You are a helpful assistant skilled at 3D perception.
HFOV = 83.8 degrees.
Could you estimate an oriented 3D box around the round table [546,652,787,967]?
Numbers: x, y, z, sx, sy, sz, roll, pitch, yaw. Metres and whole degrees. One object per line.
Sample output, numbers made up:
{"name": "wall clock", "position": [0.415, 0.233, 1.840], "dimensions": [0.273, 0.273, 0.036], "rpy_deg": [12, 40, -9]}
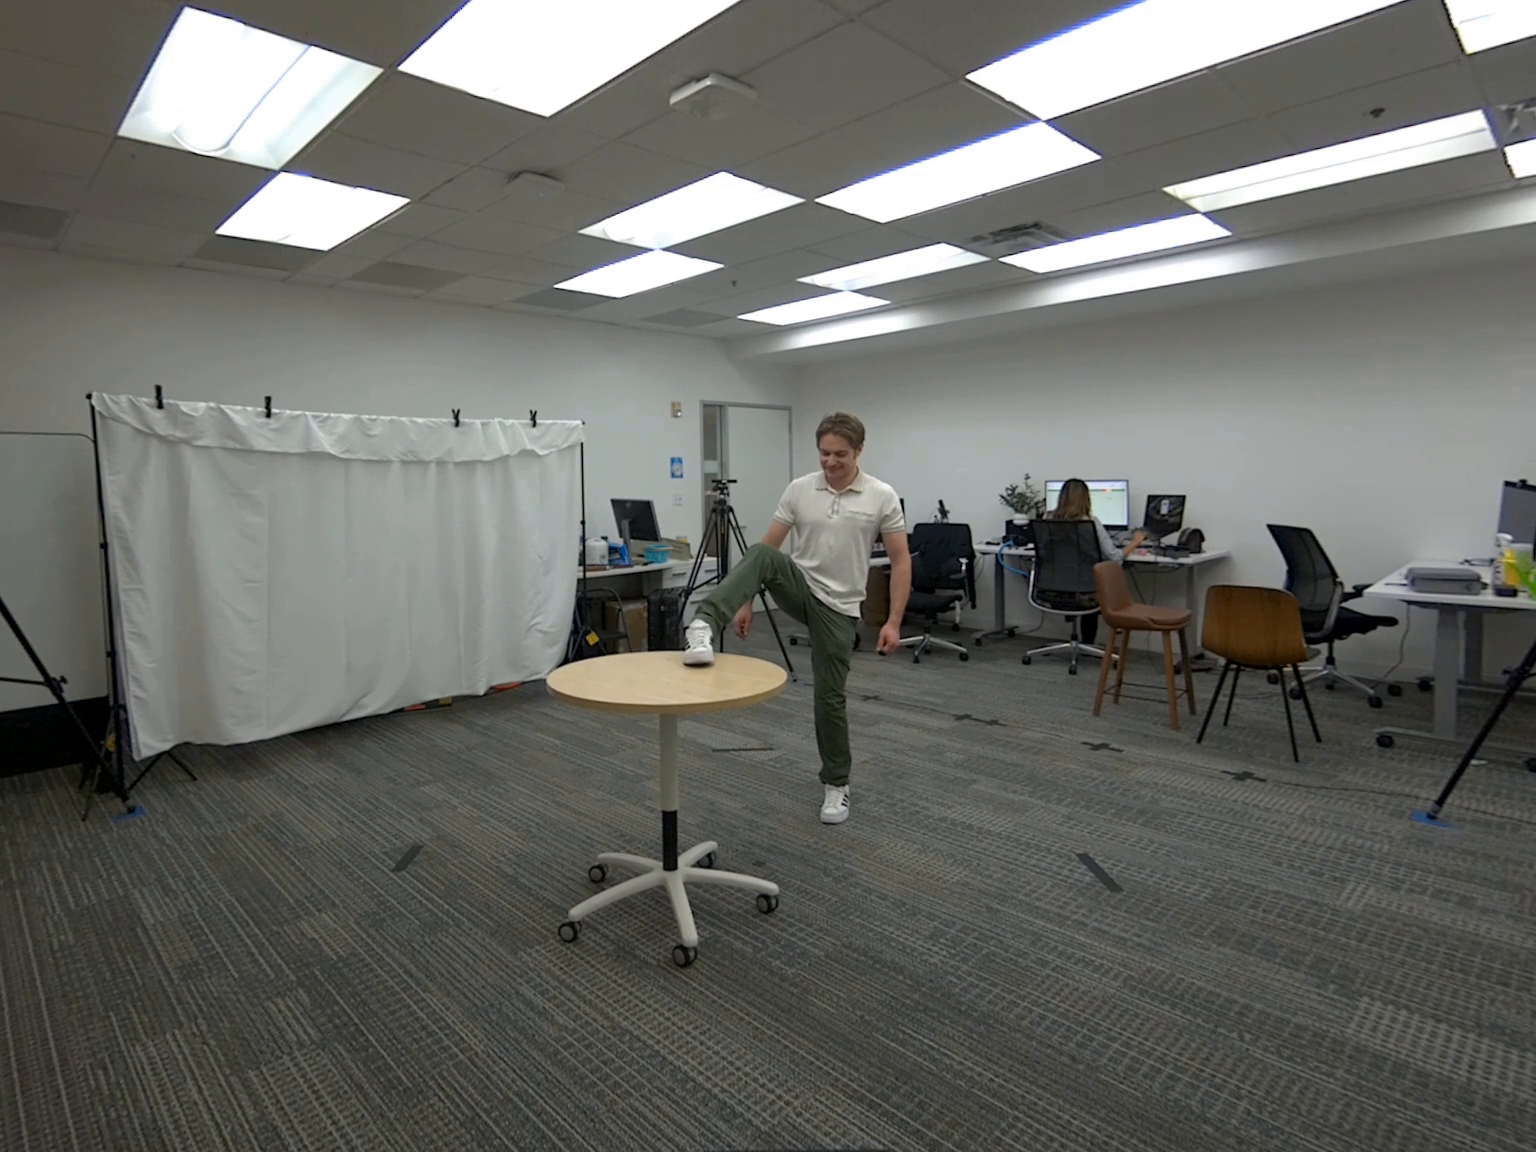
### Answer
{"name": "round table", "position": [-0.323, 0.707, 2.766], "dimensions": [0.763, 0.791, 0.768], "rpy_deg": [-1, 5, -2]}
